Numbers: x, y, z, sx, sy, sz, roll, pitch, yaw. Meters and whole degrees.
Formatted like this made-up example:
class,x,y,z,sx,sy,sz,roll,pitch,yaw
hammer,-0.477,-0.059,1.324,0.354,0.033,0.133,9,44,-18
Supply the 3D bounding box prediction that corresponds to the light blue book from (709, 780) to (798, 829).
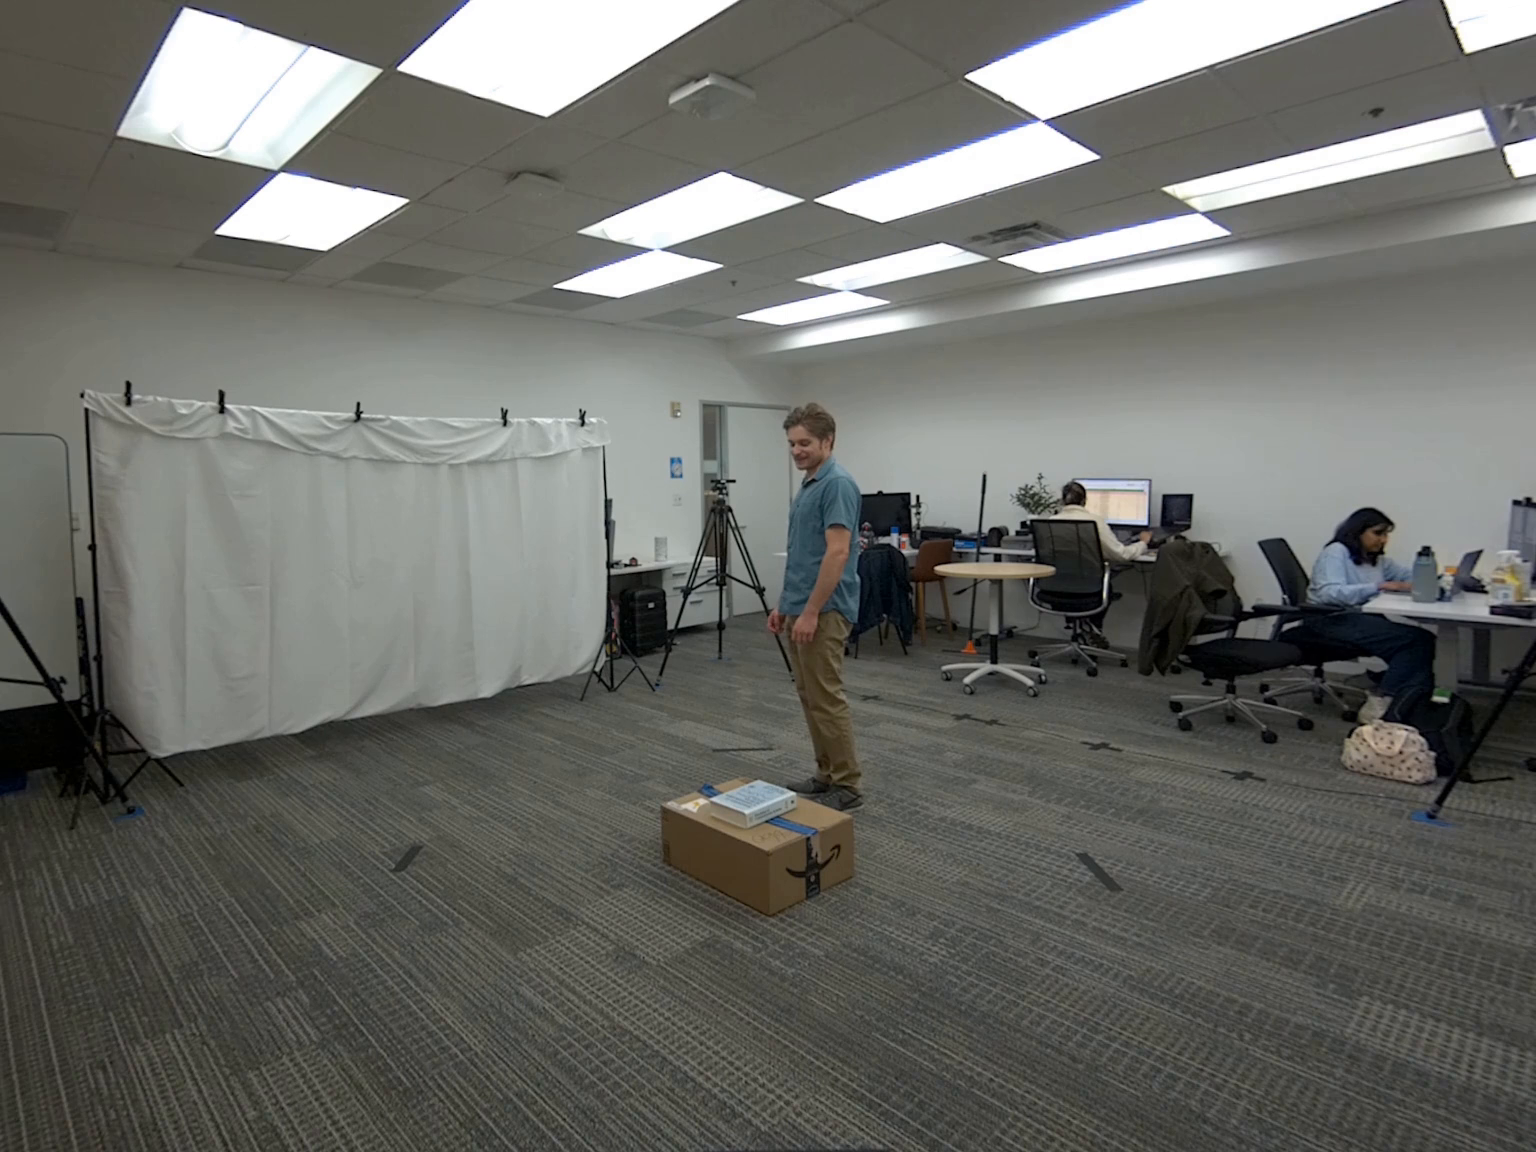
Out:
class,x,y,z,sx,sy,sz,roll,pitch,yaw
light blue book,-0.051,0.810,3.057,0.197,0.059,0.254,5,9,44
